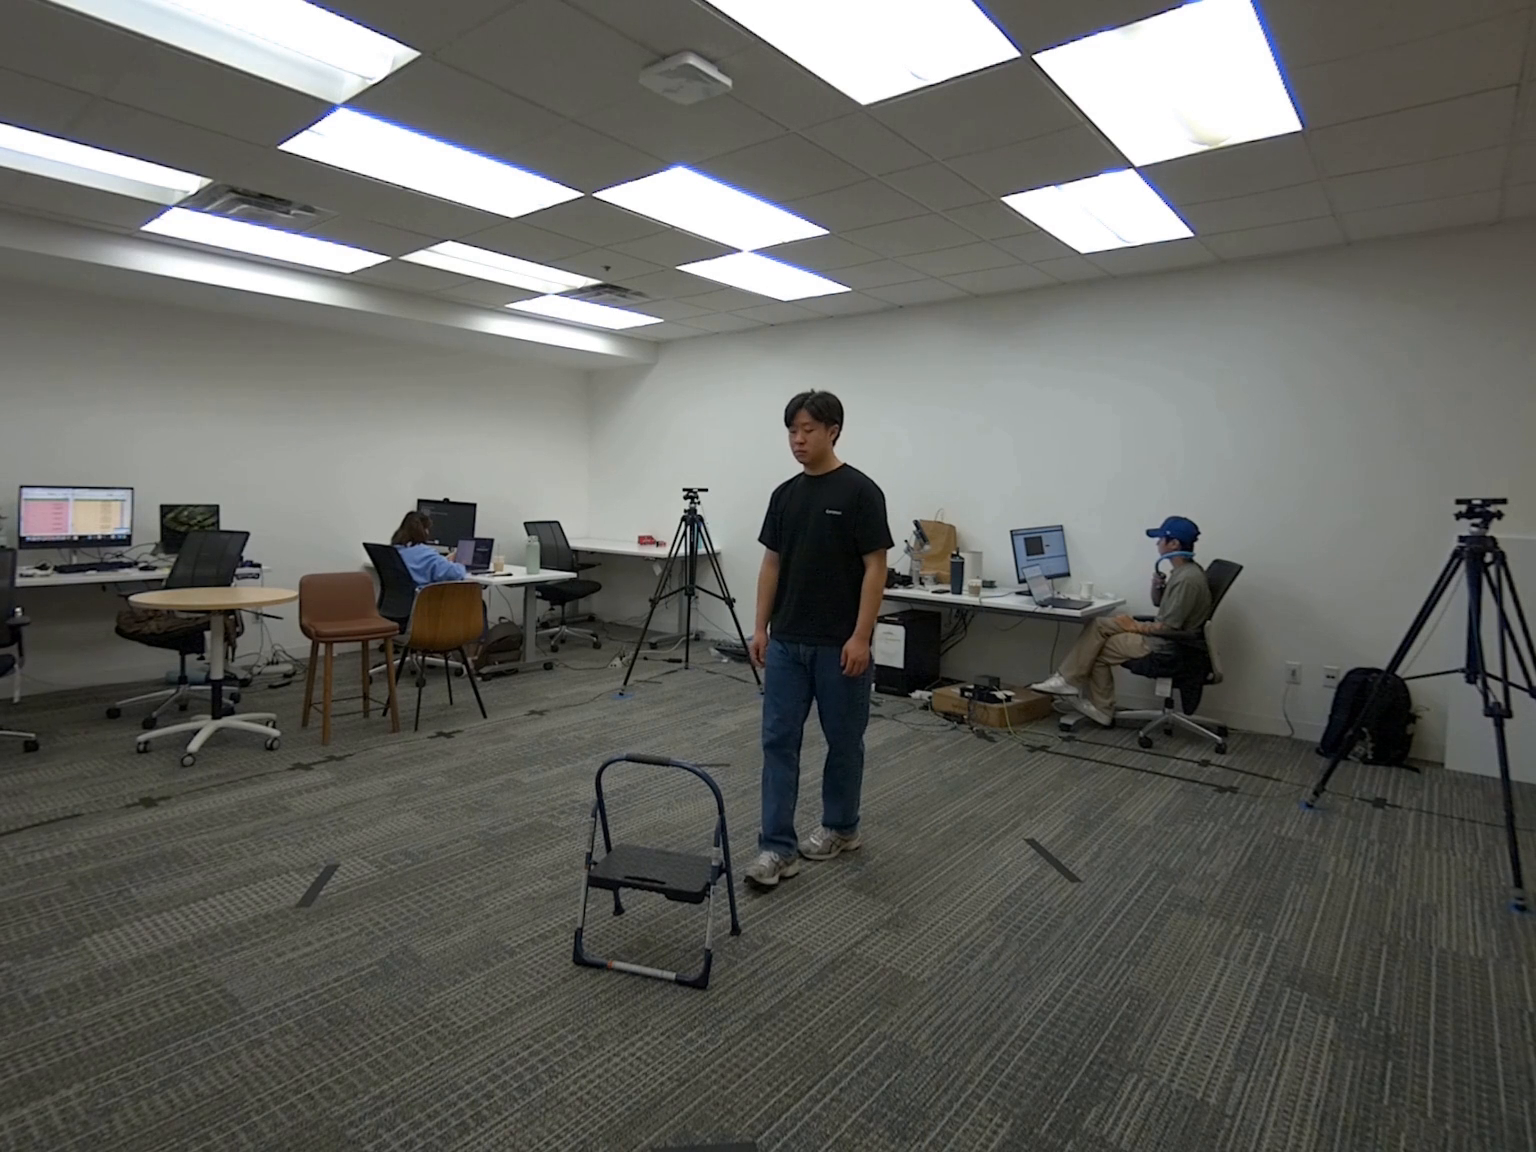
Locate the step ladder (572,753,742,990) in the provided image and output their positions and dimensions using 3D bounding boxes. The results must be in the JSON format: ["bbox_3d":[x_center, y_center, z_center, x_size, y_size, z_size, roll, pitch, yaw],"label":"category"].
[{"bbox_3d":[-0.334,0.818,2.557,0.438,0.604,0.344,2,3,15],"label":"step ladder"}]
